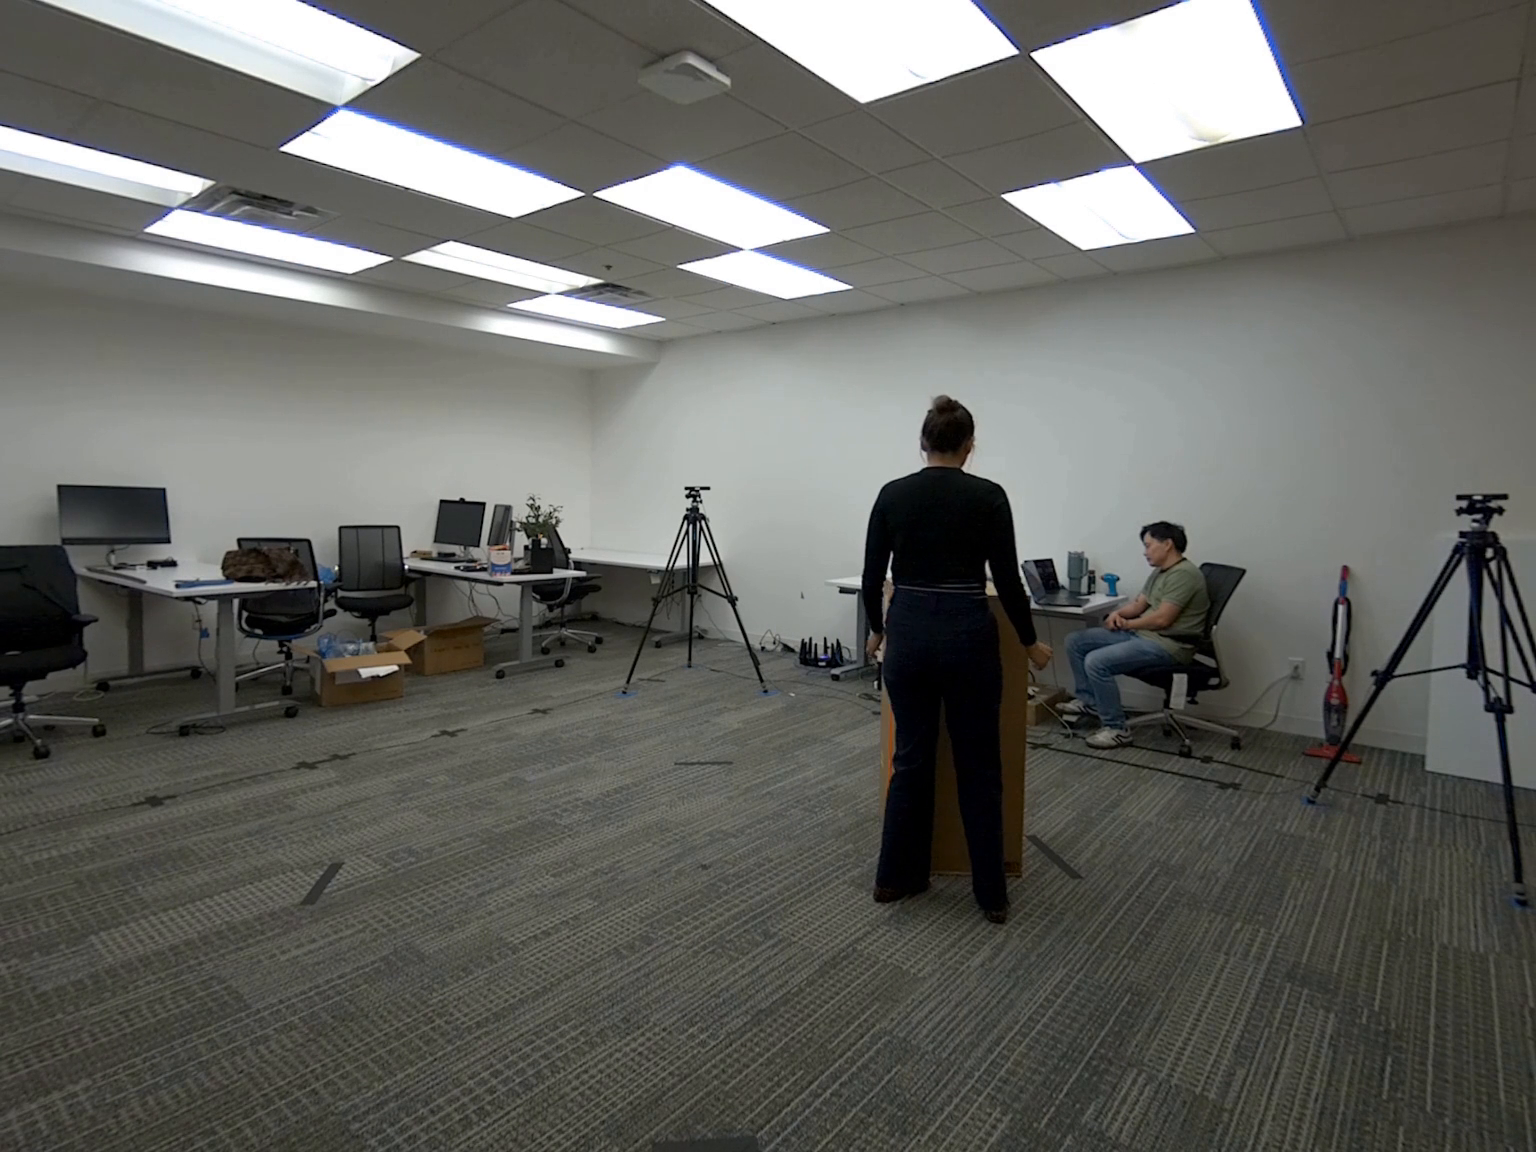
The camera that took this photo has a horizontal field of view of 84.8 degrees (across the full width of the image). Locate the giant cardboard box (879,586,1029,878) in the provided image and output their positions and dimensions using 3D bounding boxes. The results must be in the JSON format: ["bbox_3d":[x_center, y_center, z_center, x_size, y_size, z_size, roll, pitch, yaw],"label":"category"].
[{"bbox_3d":[0.698,0.543,3.344,0.426,1.022,0.579,0,4,0],"label":"giant cardboard box"}]
